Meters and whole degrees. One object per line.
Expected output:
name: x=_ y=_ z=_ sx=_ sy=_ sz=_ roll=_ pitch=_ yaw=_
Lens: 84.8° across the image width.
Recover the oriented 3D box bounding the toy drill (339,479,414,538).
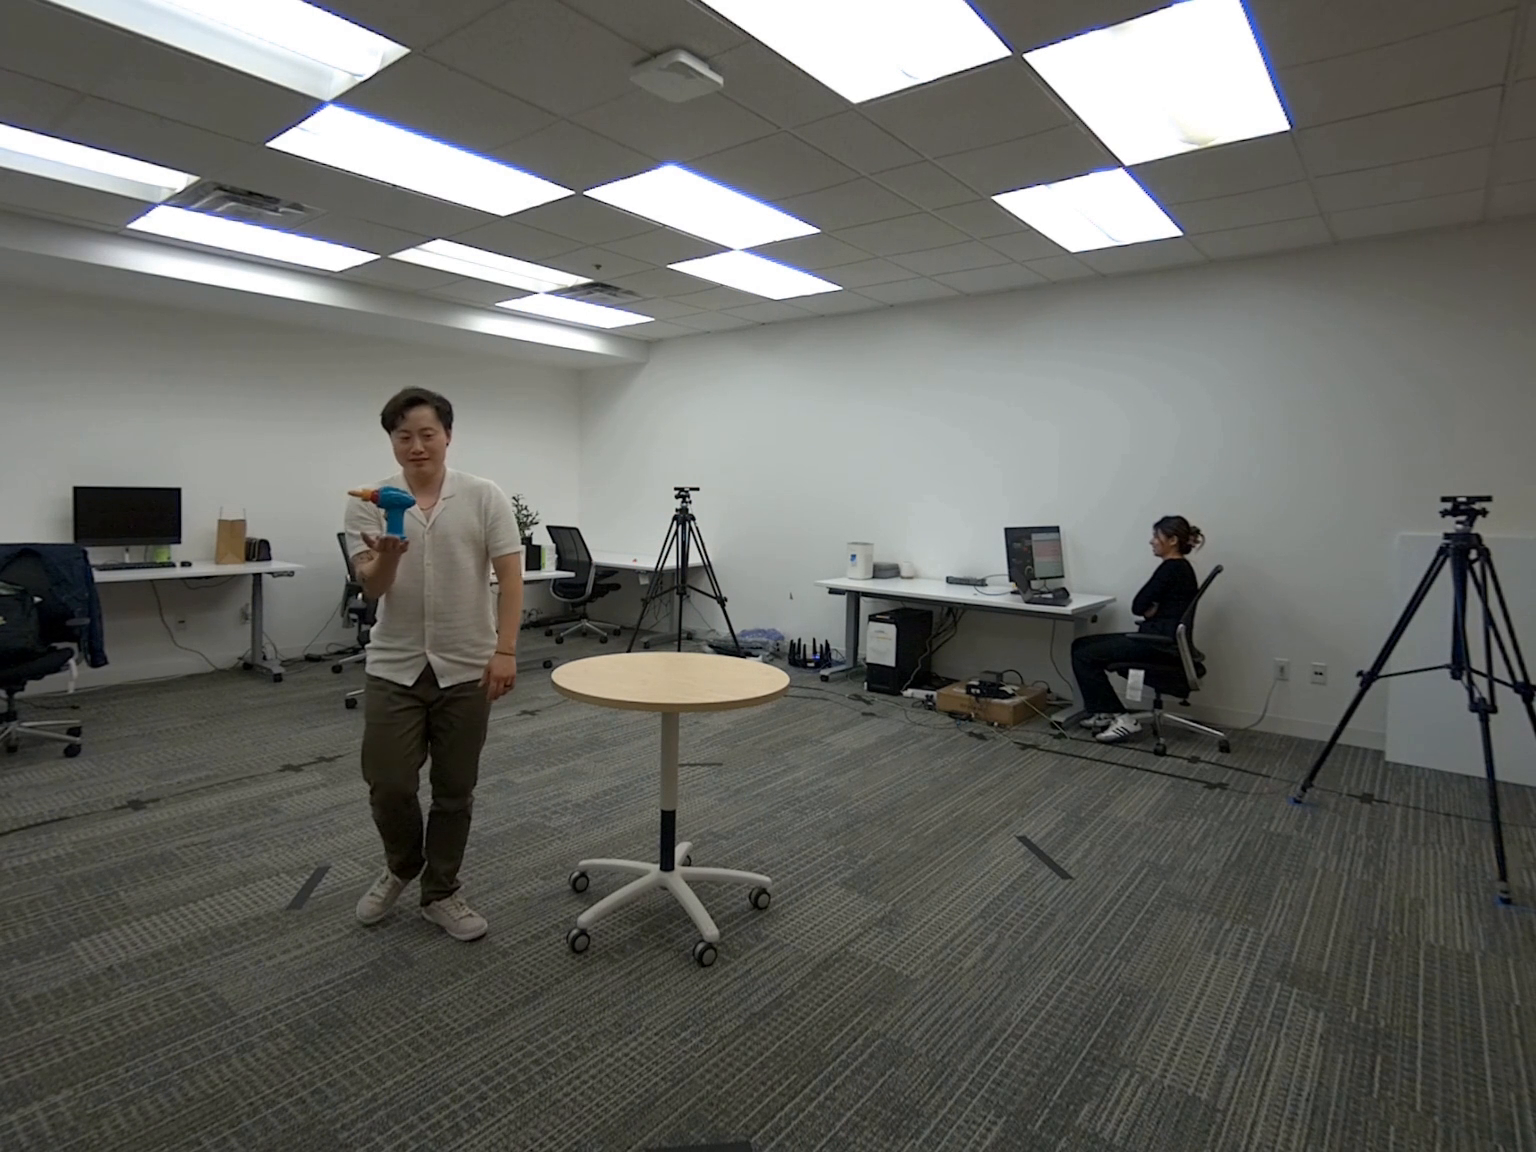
toy drill: x=-1.024 y=-0.169 z=2.212 sx=0.164 sy=0.146 sz=0.063 roll=8 pitch=-4 yaw=-33
